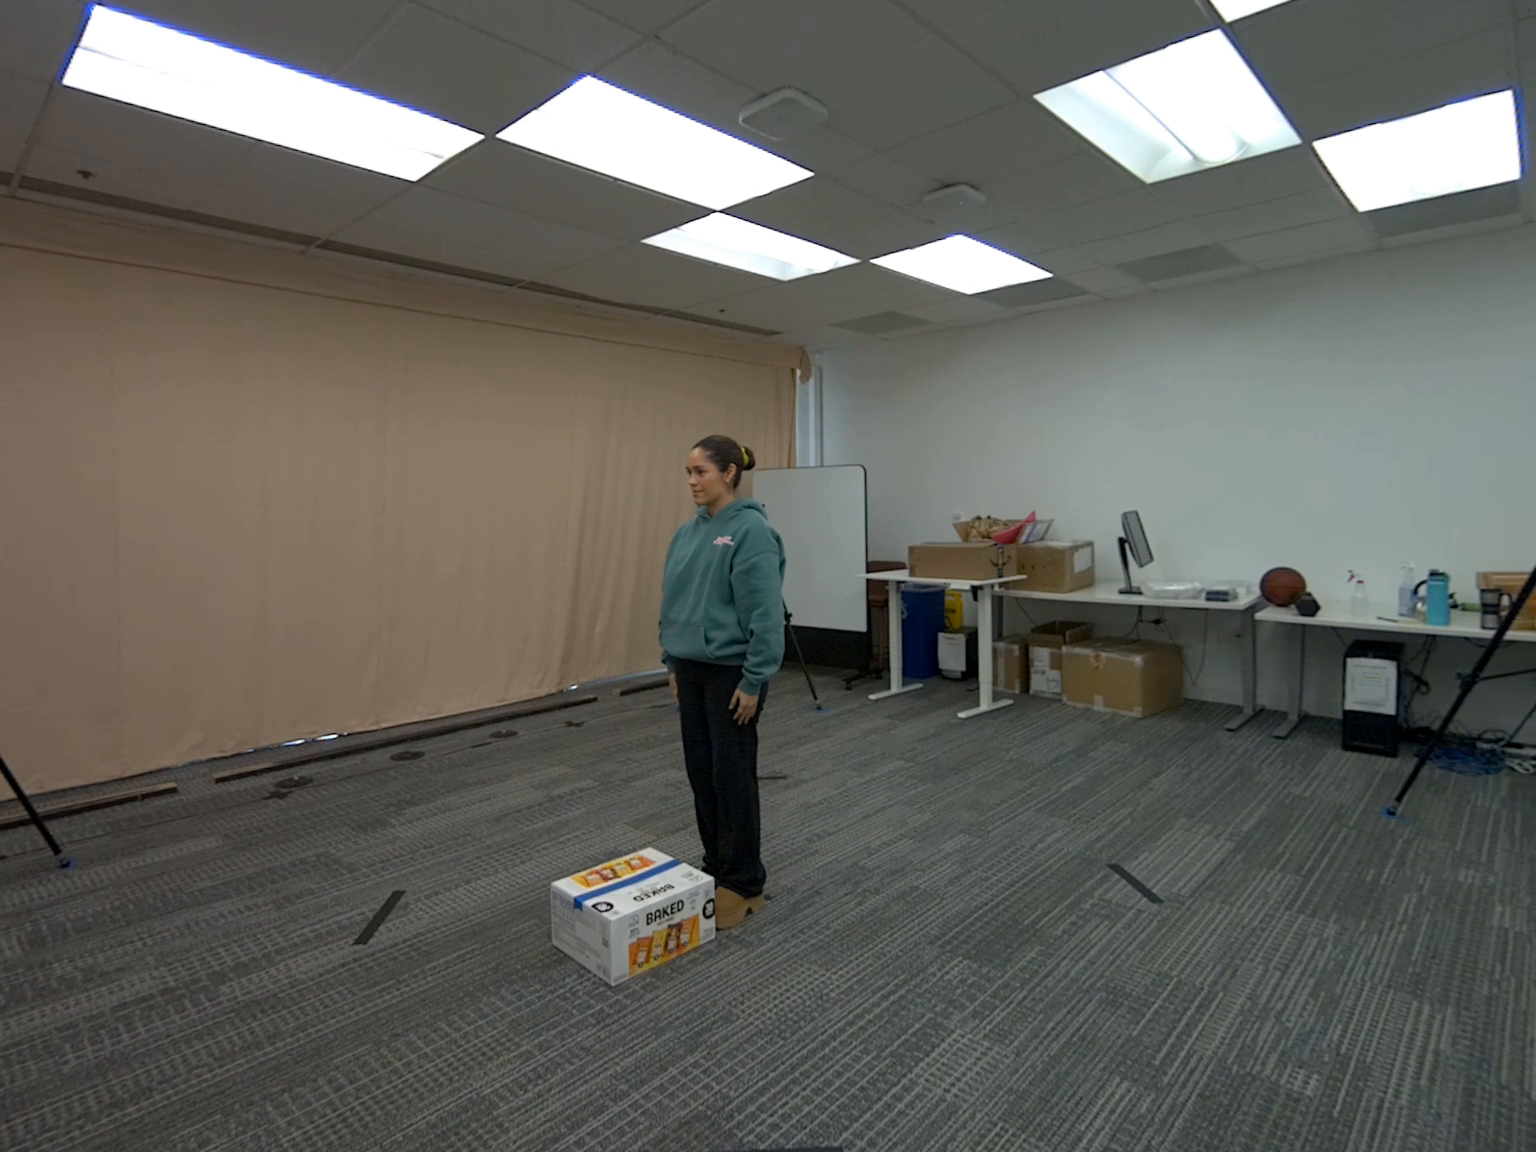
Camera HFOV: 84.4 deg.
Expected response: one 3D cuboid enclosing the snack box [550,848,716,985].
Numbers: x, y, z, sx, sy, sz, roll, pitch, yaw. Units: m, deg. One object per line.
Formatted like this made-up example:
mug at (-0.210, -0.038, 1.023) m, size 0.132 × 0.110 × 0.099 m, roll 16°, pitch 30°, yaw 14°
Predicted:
snack box at (-0.432, 1.075, 2.686) m, size 0.393 × 0.205 × 0.351 m, roll -5°, pitch 6°, yaw -43°
